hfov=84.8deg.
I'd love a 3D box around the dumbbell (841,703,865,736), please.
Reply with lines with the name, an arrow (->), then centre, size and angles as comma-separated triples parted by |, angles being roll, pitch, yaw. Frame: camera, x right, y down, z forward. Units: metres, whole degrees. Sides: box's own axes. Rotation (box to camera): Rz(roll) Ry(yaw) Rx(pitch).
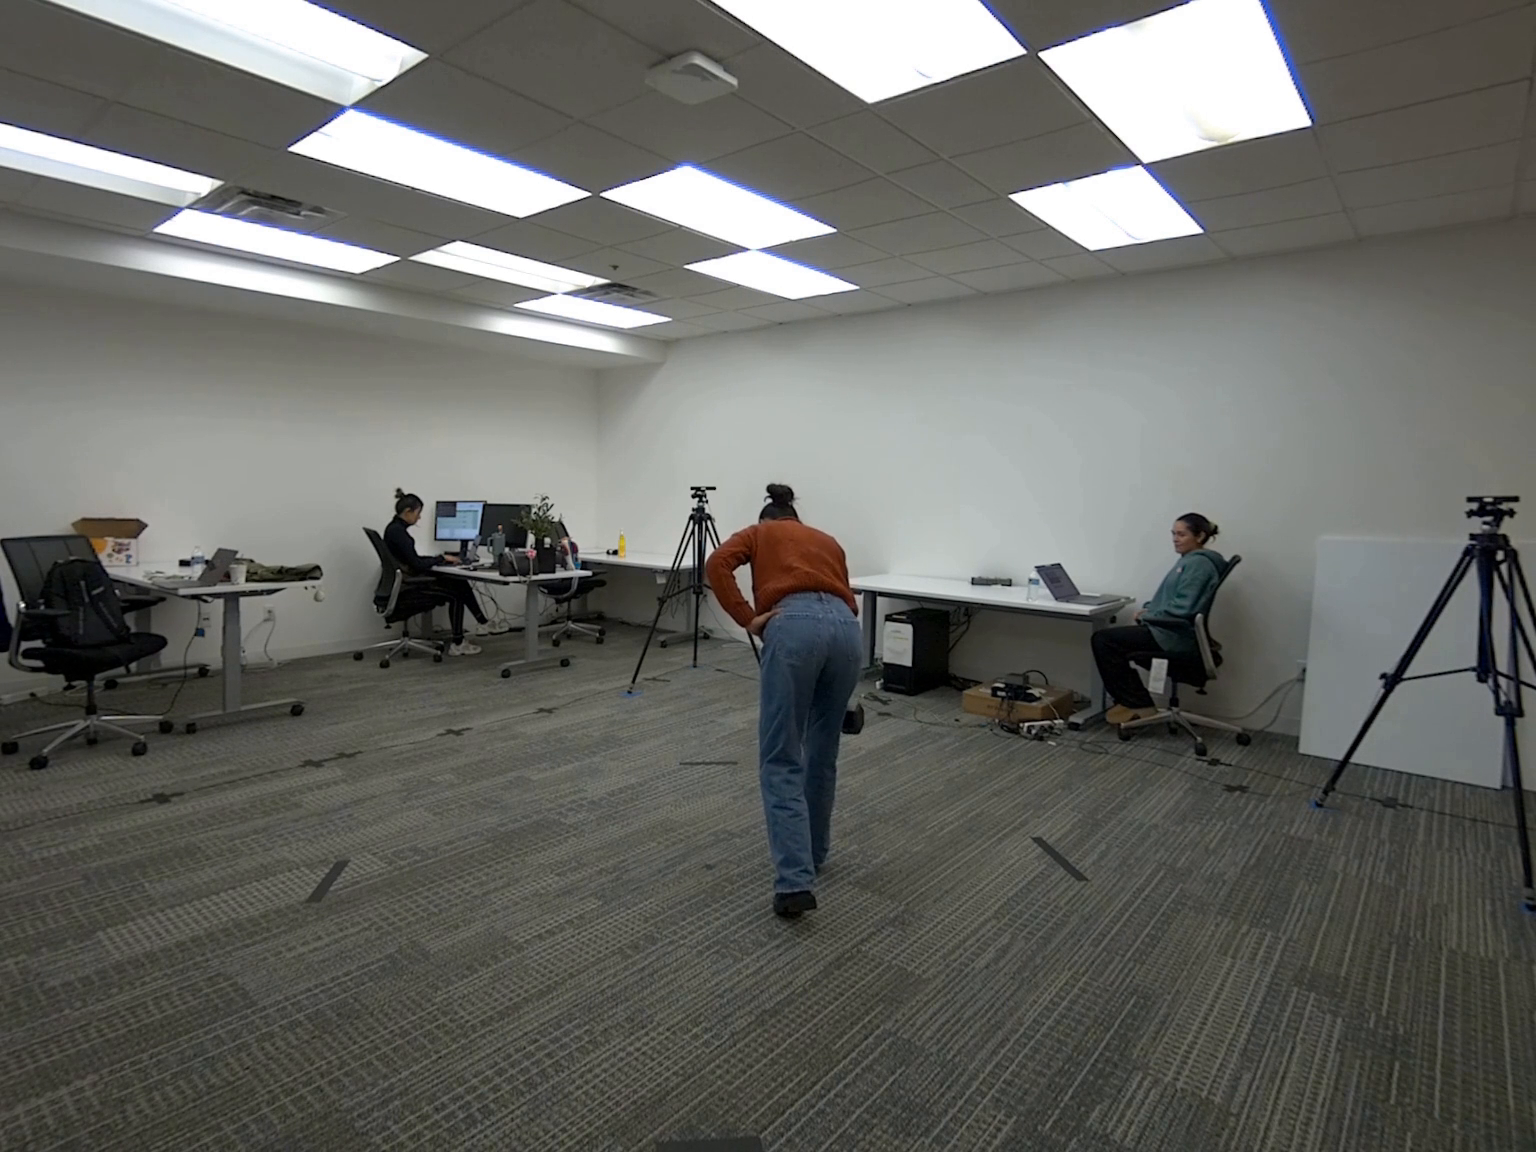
dumbbell -> 0.209, 0.530, 3.239 | 0.301, 0.123, 0.105 | 0, -3, 28
